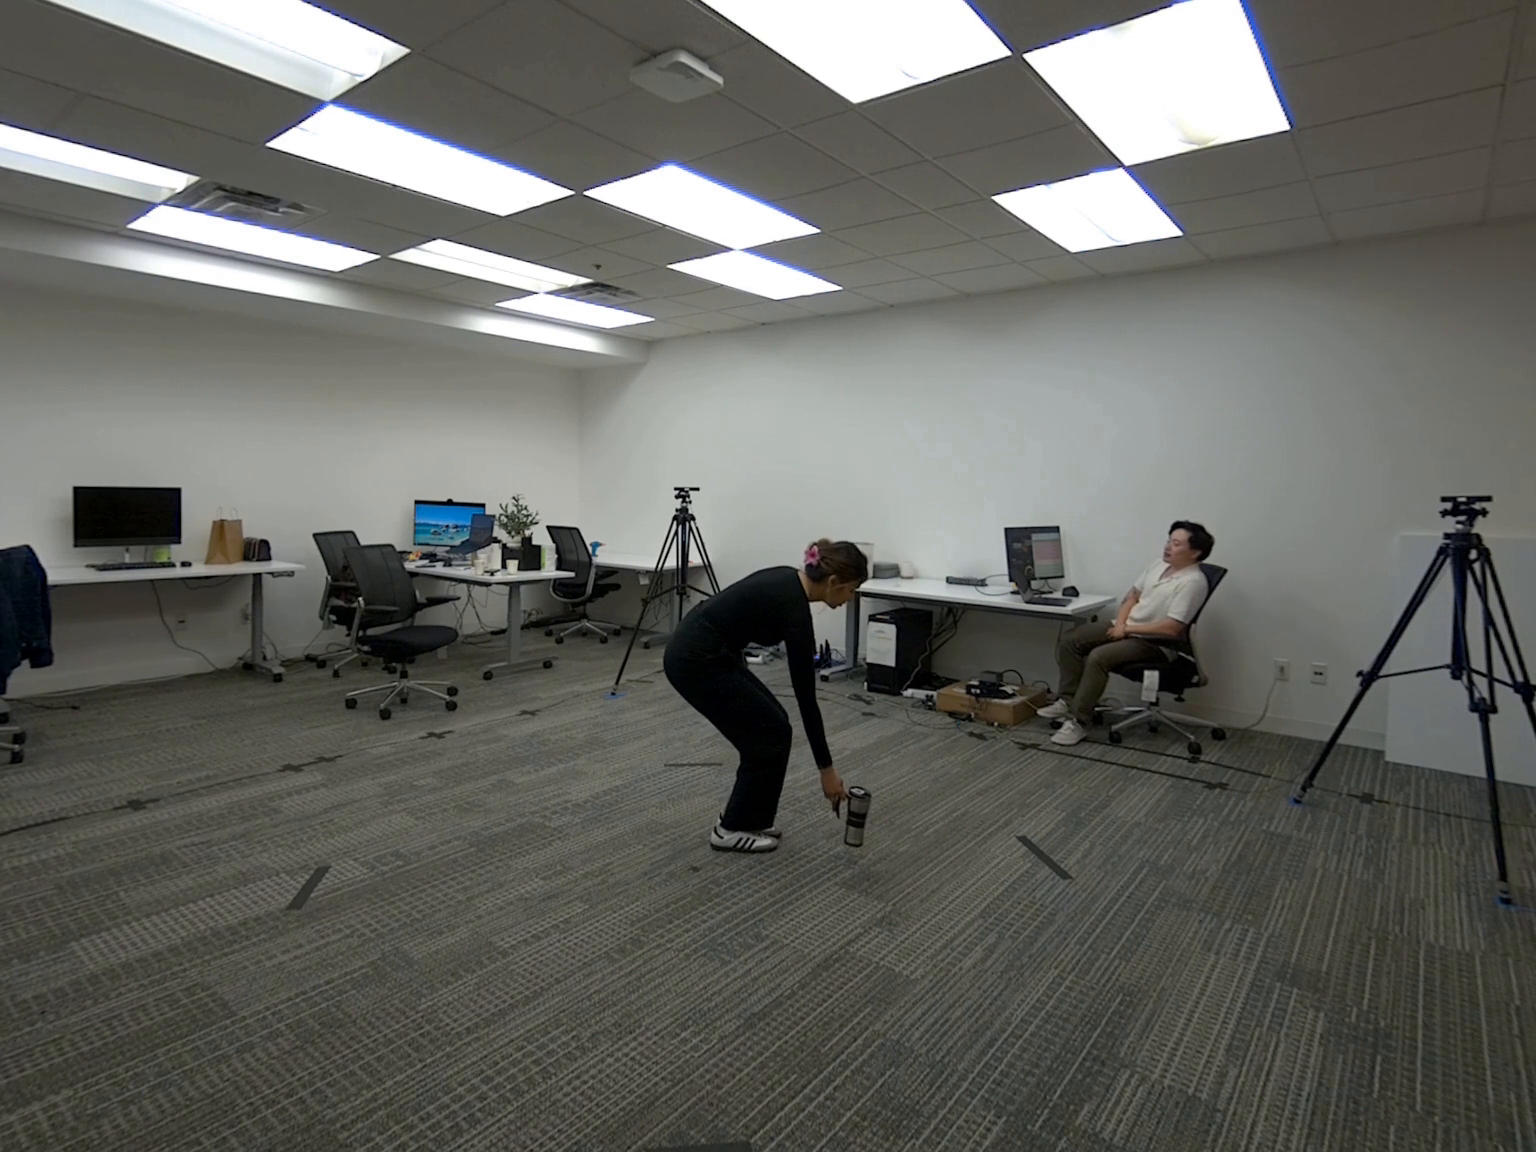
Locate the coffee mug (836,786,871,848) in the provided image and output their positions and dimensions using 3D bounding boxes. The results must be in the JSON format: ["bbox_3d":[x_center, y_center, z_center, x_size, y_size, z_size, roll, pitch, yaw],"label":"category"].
[{"bbox_3d":[0.306,0.894,3.183,0.126,0.201,0.085,16,12,37],"label":"coffee mug"}]
